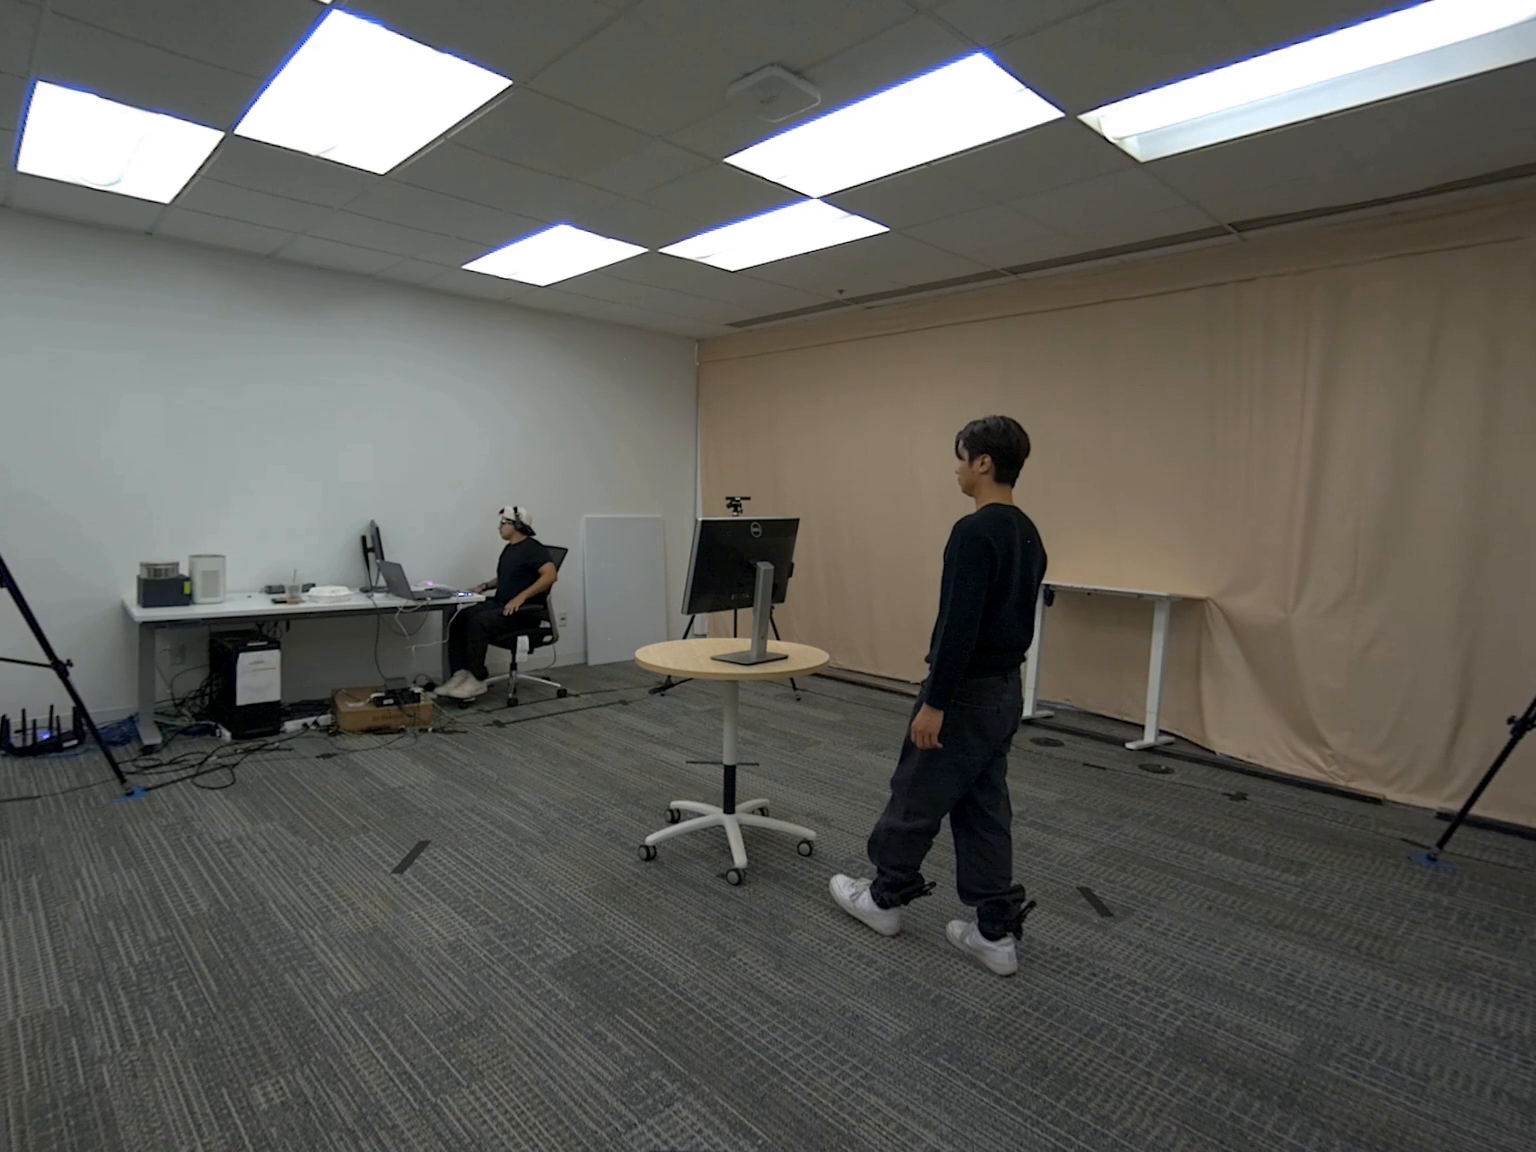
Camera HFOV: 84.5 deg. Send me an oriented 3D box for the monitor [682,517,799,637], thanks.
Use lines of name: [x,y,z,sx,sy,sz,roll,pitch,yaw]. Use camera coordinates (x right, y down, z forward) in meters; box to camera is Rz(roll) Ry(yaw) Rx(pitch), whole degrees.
monitor: [-0.073,0.052,3.205,0.191,0.522,0.527,1,3,40]
